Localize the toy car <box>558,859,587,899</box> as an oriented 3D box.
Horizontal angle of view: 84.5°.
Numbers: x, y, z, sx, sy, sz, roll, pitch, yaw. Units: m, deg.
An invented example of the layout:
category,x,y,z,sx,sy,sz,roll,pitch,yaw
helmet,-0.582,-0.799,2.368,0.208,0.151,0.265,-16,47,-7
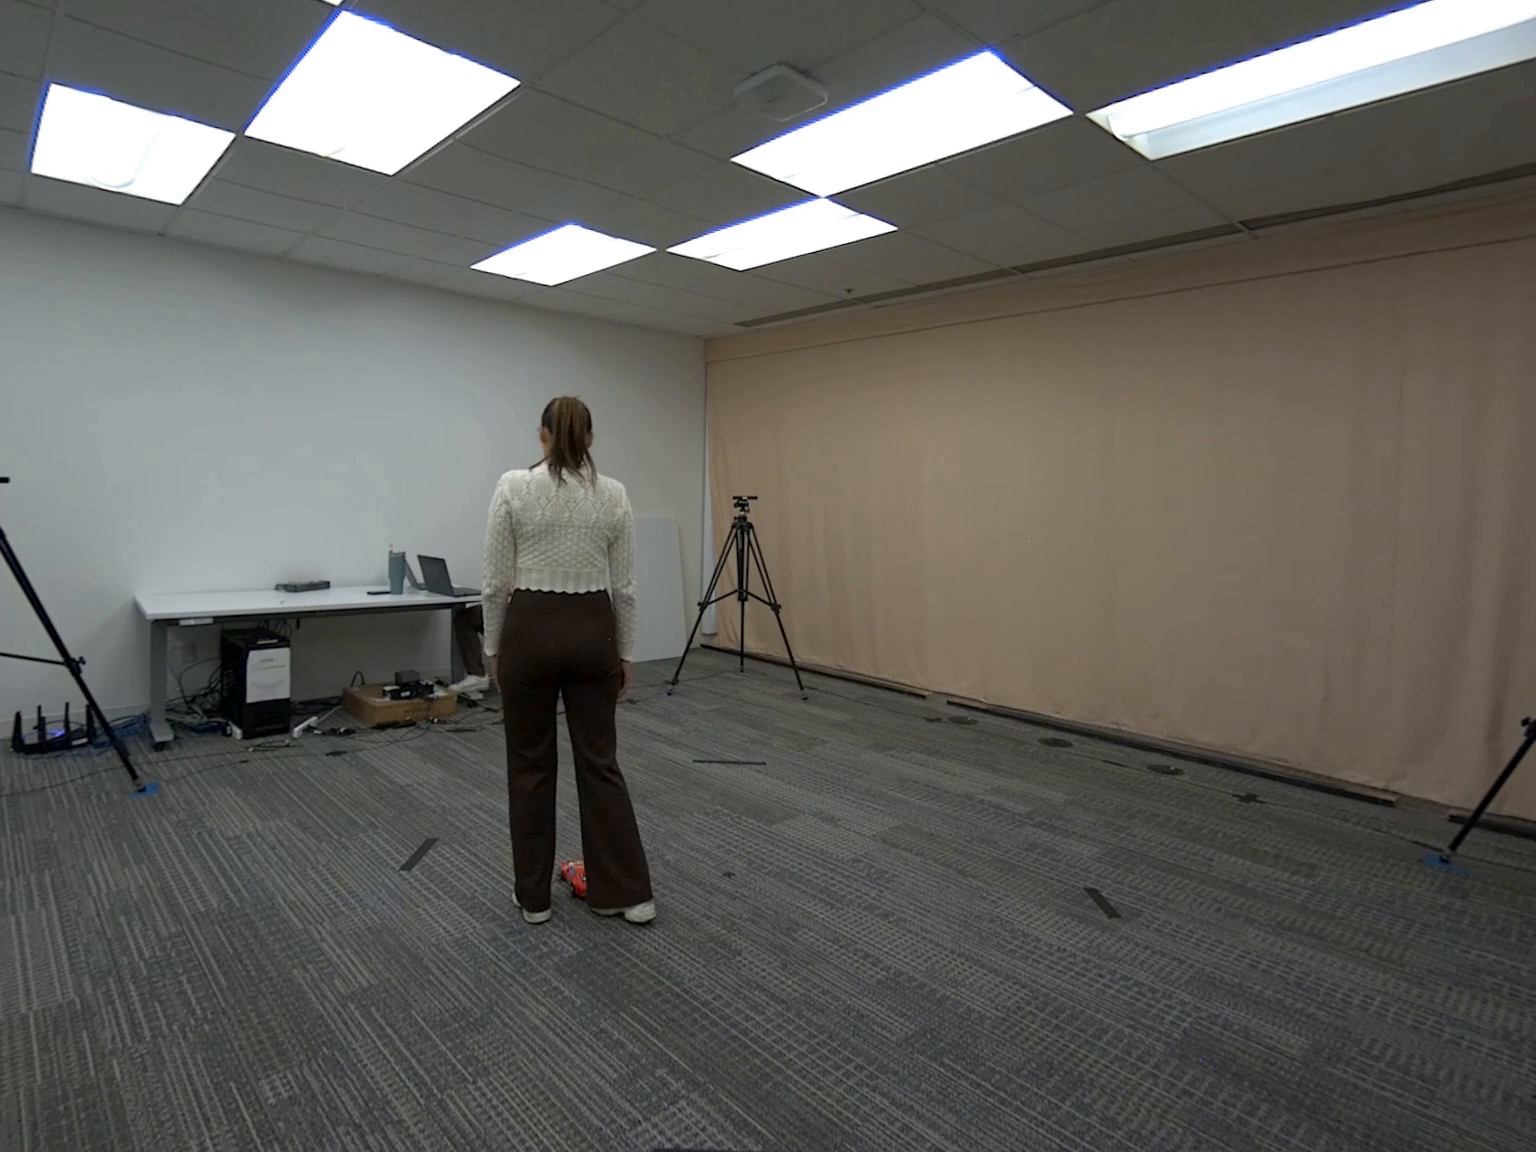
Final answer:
category,x,y,z,sx,sy,sz,roll,pitch,yaw
toy car,-0.662,1.077,2.976,0.128,0.083,0.259,-2,-2,-30
